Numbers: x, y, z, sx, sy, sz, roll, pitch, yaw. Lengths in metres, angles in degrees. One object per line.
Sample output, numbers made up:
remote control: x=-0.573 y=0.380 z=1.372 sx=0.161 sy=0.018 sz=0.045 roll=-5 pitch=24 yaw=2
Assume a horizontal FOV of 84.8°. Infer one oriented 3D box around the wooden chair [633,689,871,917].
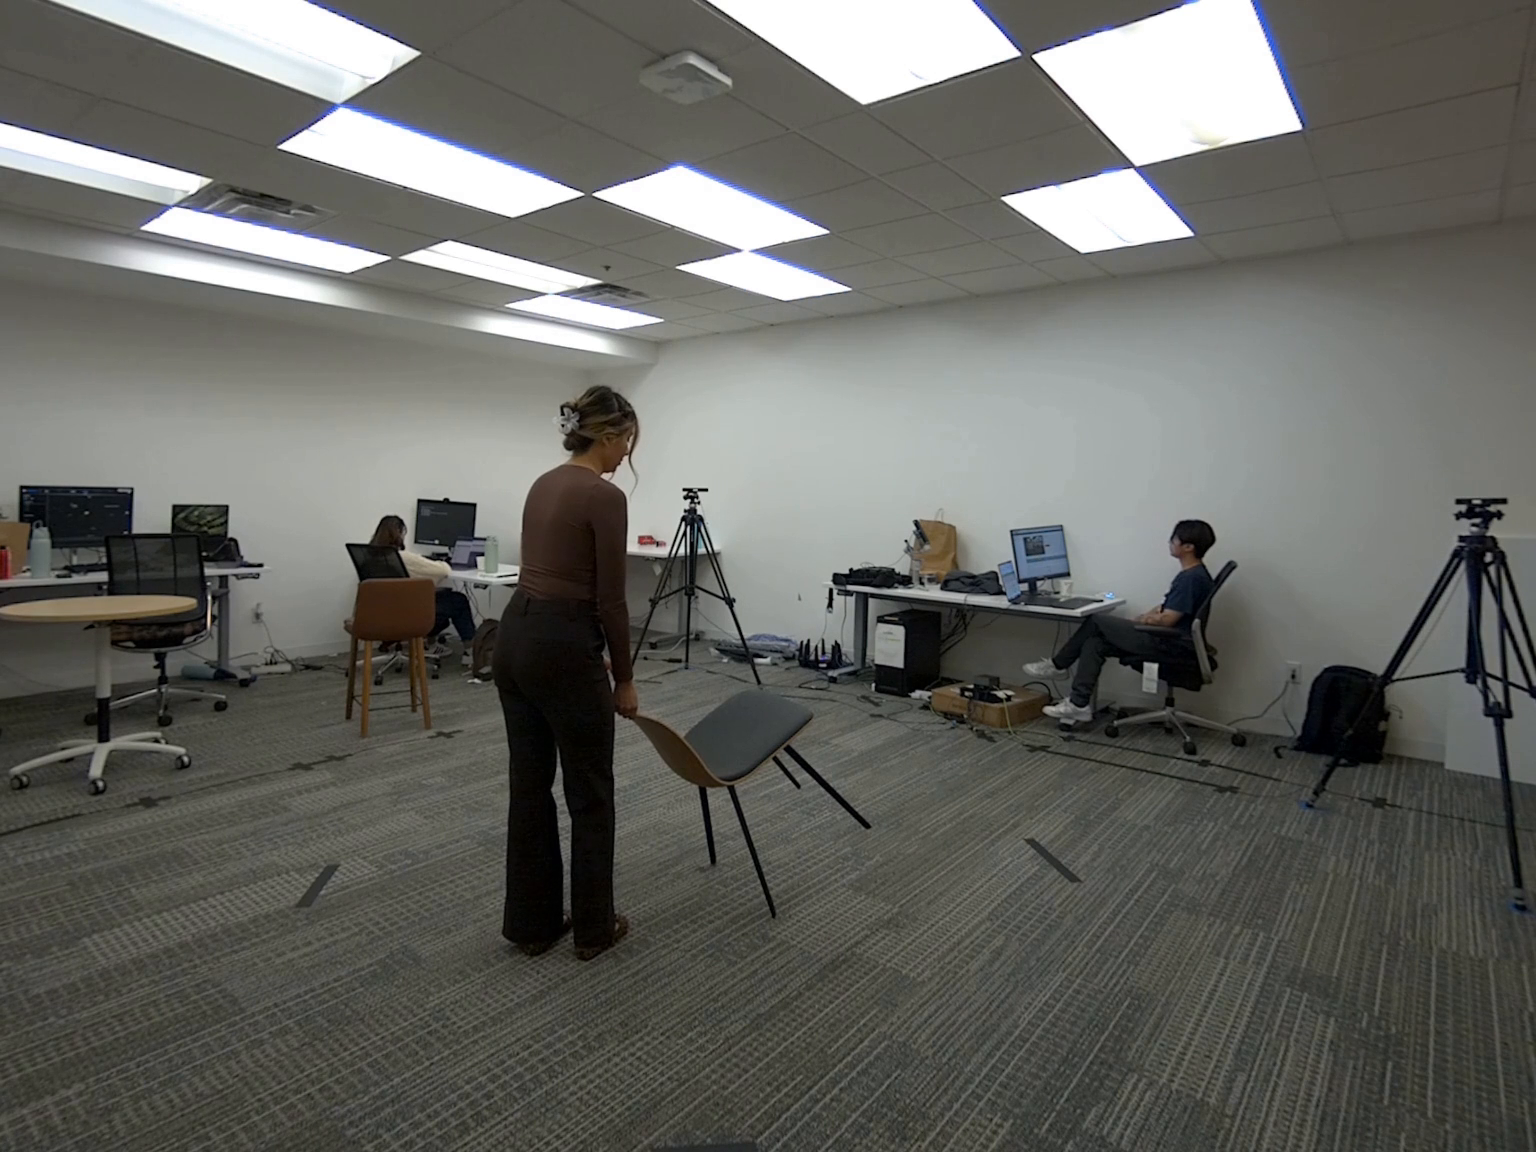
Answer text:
wooden chair: x=-0.116 y=0.602 z=2.923 sx=0.521 sy=0.856 sz=0.492 roll=-39 pitch=20 yaw=-21
